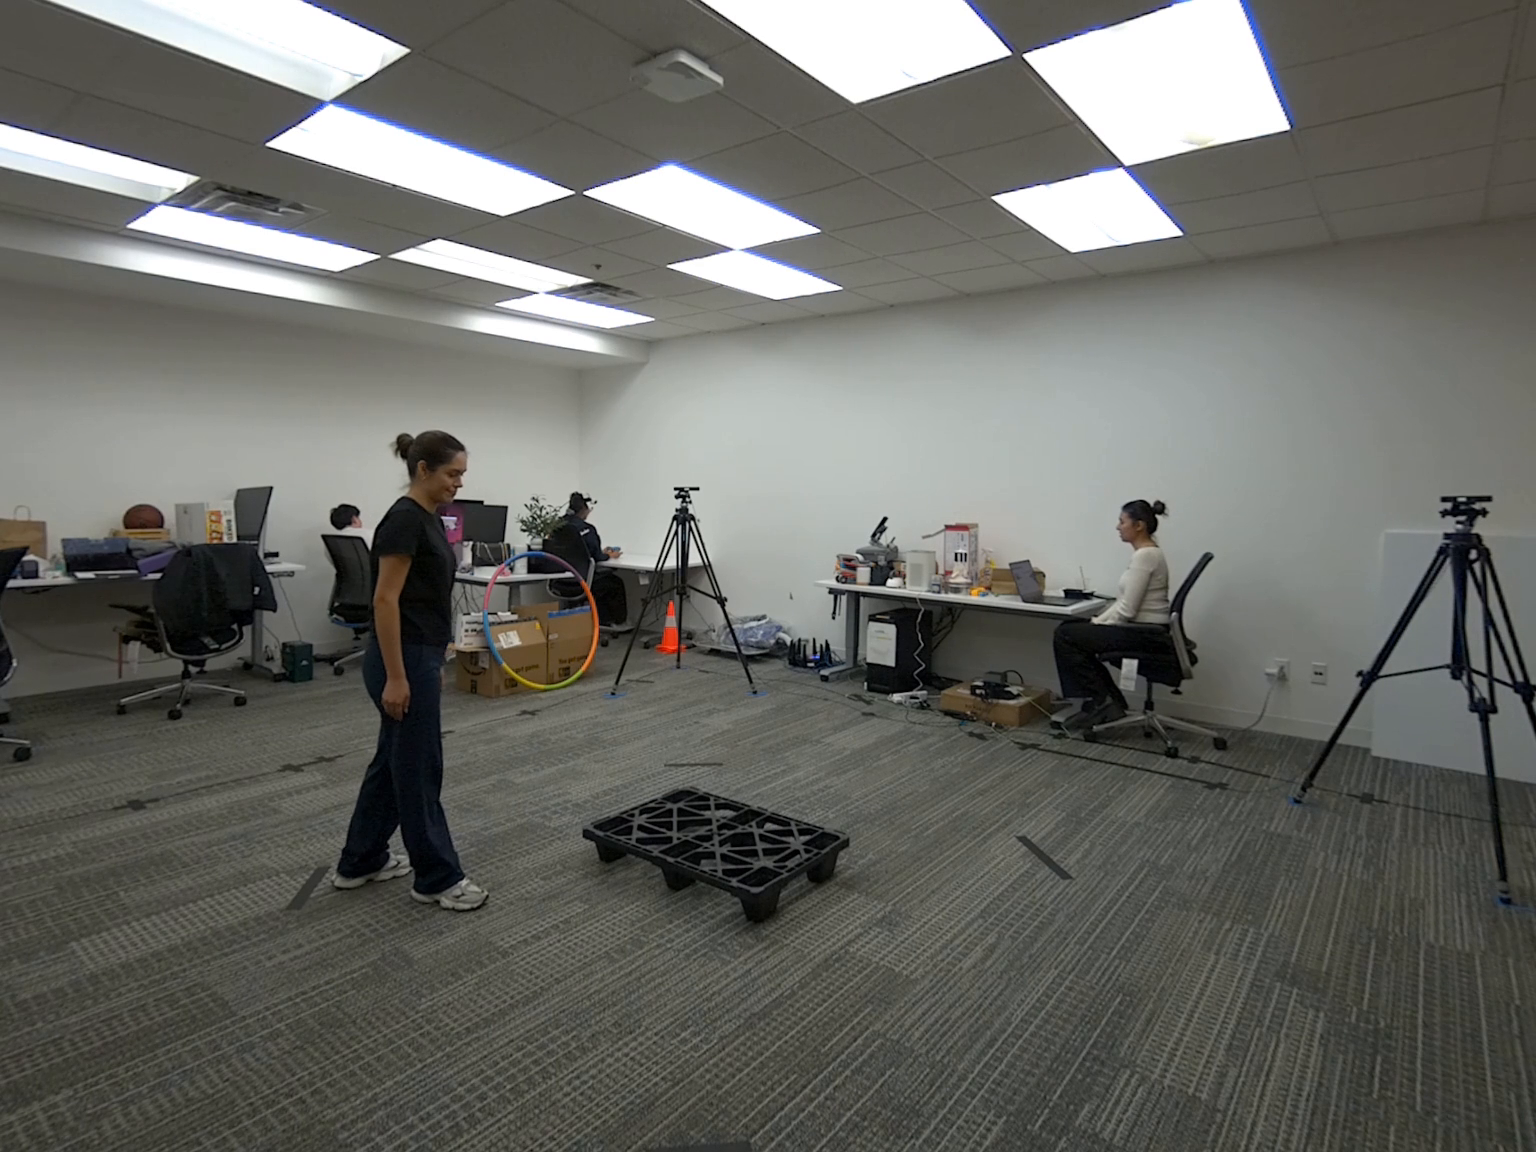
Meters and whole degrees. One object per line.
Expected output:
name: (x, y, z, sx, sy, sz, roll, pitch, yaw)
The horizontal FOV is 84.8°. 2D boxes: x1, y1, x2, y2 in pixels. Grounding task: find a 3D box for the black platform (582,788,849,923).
black platform: (-0.182, 0.998, 3.133, 0.832, 0.143, 0.587, 6, 7, 38)
